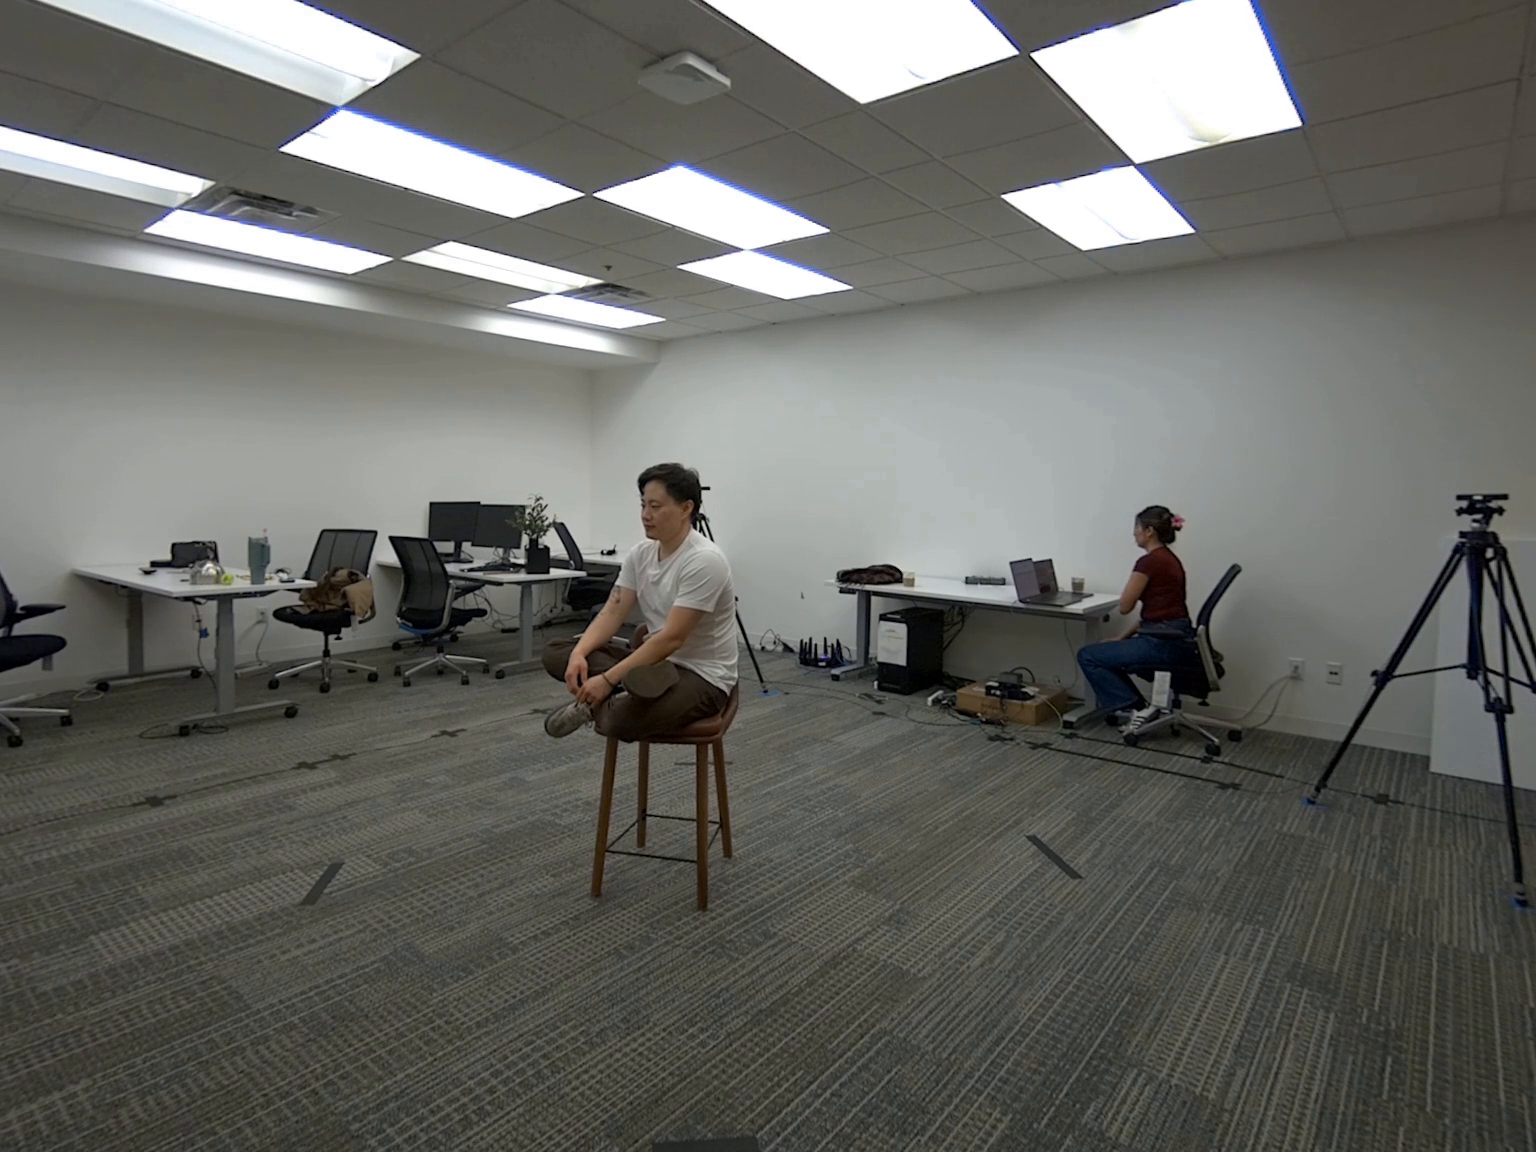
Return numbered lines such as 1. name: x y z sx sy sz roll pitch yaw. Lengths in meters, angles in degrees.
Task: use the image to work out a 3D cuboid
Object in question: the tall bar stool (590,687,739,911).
1. tall bar stool: -0.361 0.639 3.043 0.464 0.889 0.460 2 1 14
